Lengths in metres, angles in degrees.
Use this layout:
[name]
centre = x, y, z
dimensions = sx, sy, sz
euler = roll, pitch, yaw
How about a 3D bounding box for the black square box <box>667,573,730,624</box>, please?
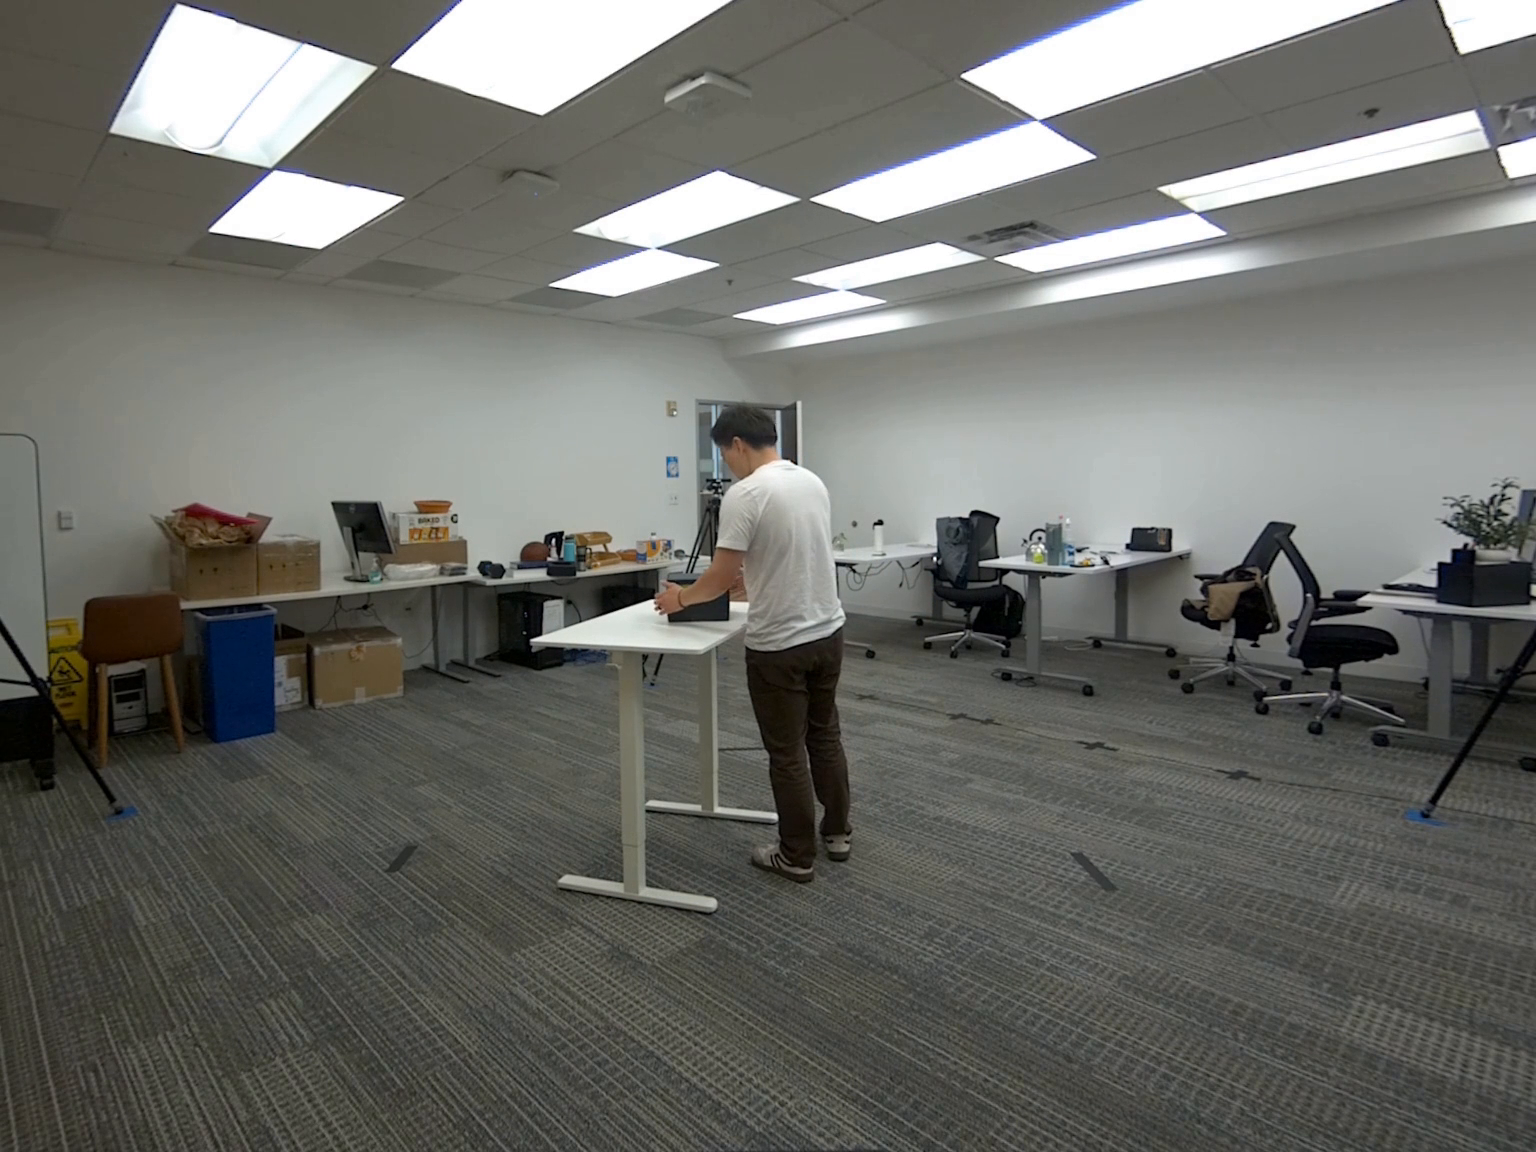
[black square box]
centre = -0.265, 0.078, 3.225
dimensions = 0.228, 0.155, 0.218
euler = -2, 5, -1
